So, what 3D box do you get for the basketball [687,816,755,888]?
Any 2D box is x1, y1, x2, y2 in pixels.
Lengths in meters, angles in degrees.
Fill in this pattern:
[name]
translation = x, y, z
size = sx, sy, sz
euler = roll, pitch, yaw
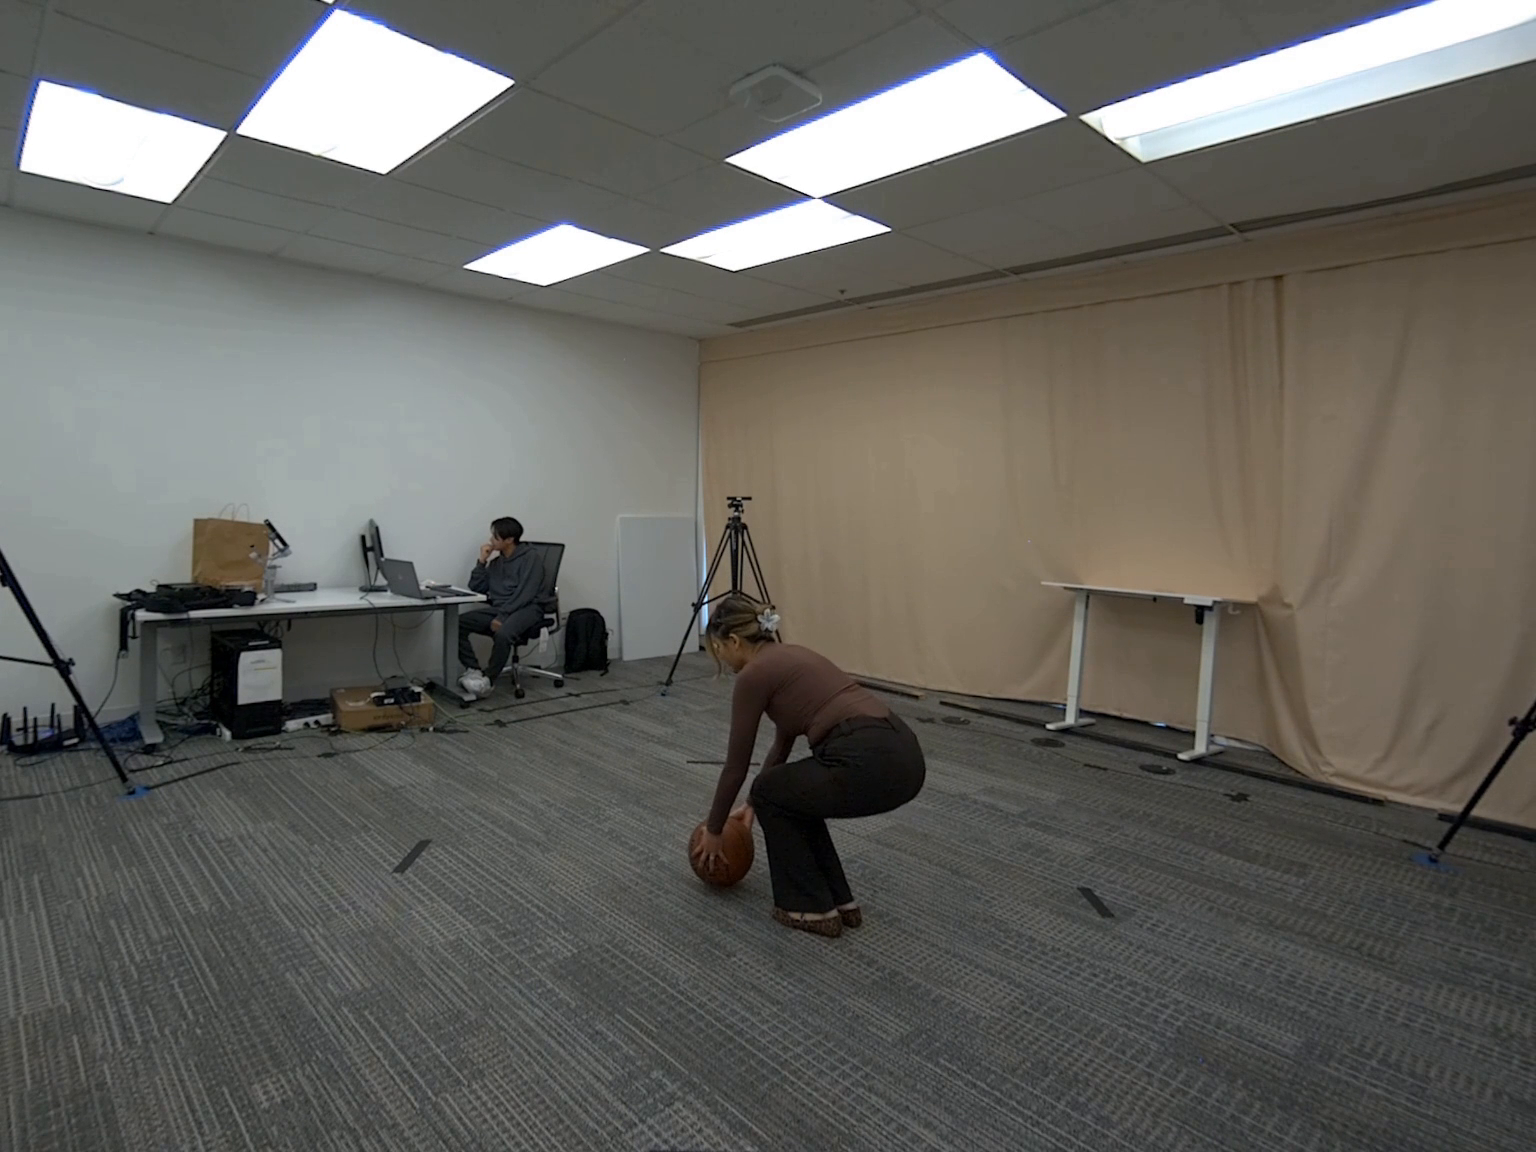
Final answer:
[basketball]
translation = -0.170, 0.968, 3.000
size = 0.236, 0.235, 0.237
euler = 1, 4, -1
